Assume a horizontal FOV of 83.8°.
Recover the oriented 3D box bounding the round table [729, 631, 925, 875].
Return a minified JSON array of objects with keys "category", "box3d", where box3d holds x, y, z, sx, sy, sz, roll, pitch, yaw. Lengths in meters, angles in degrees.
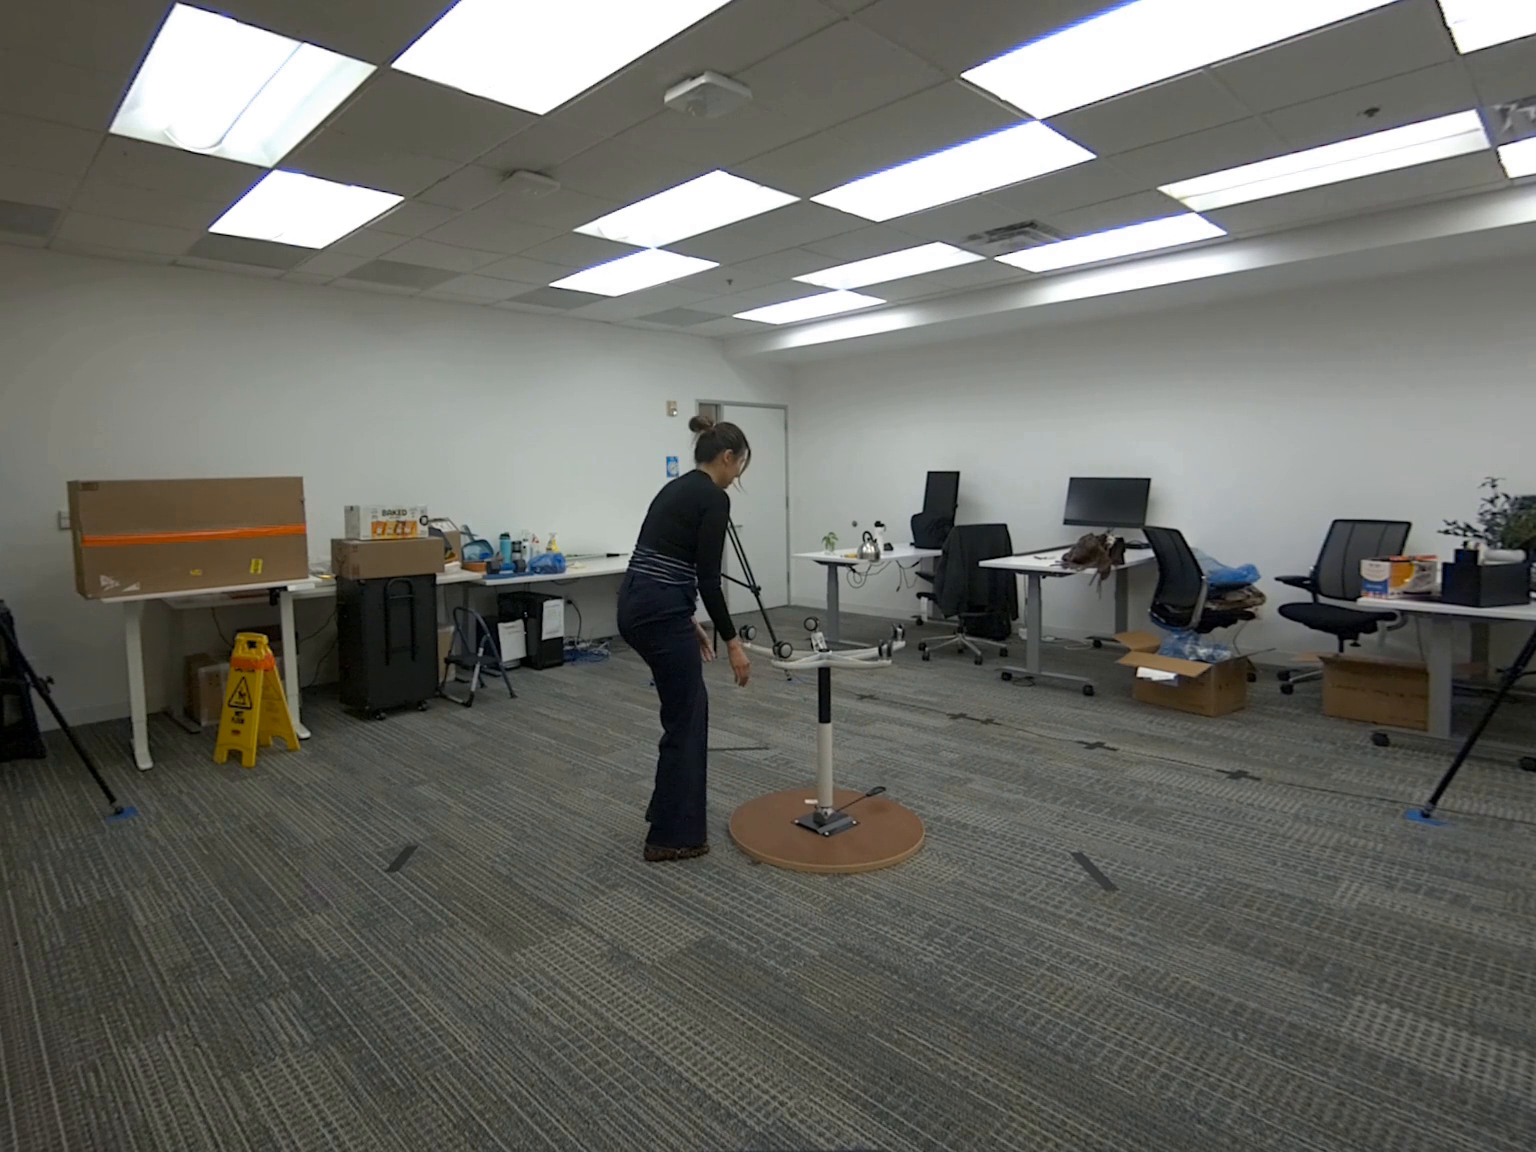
[{"category":"round table","box3d":[0.224,0.613,3.371,0.763,0.791,0.767,-1,4,-2]}]
